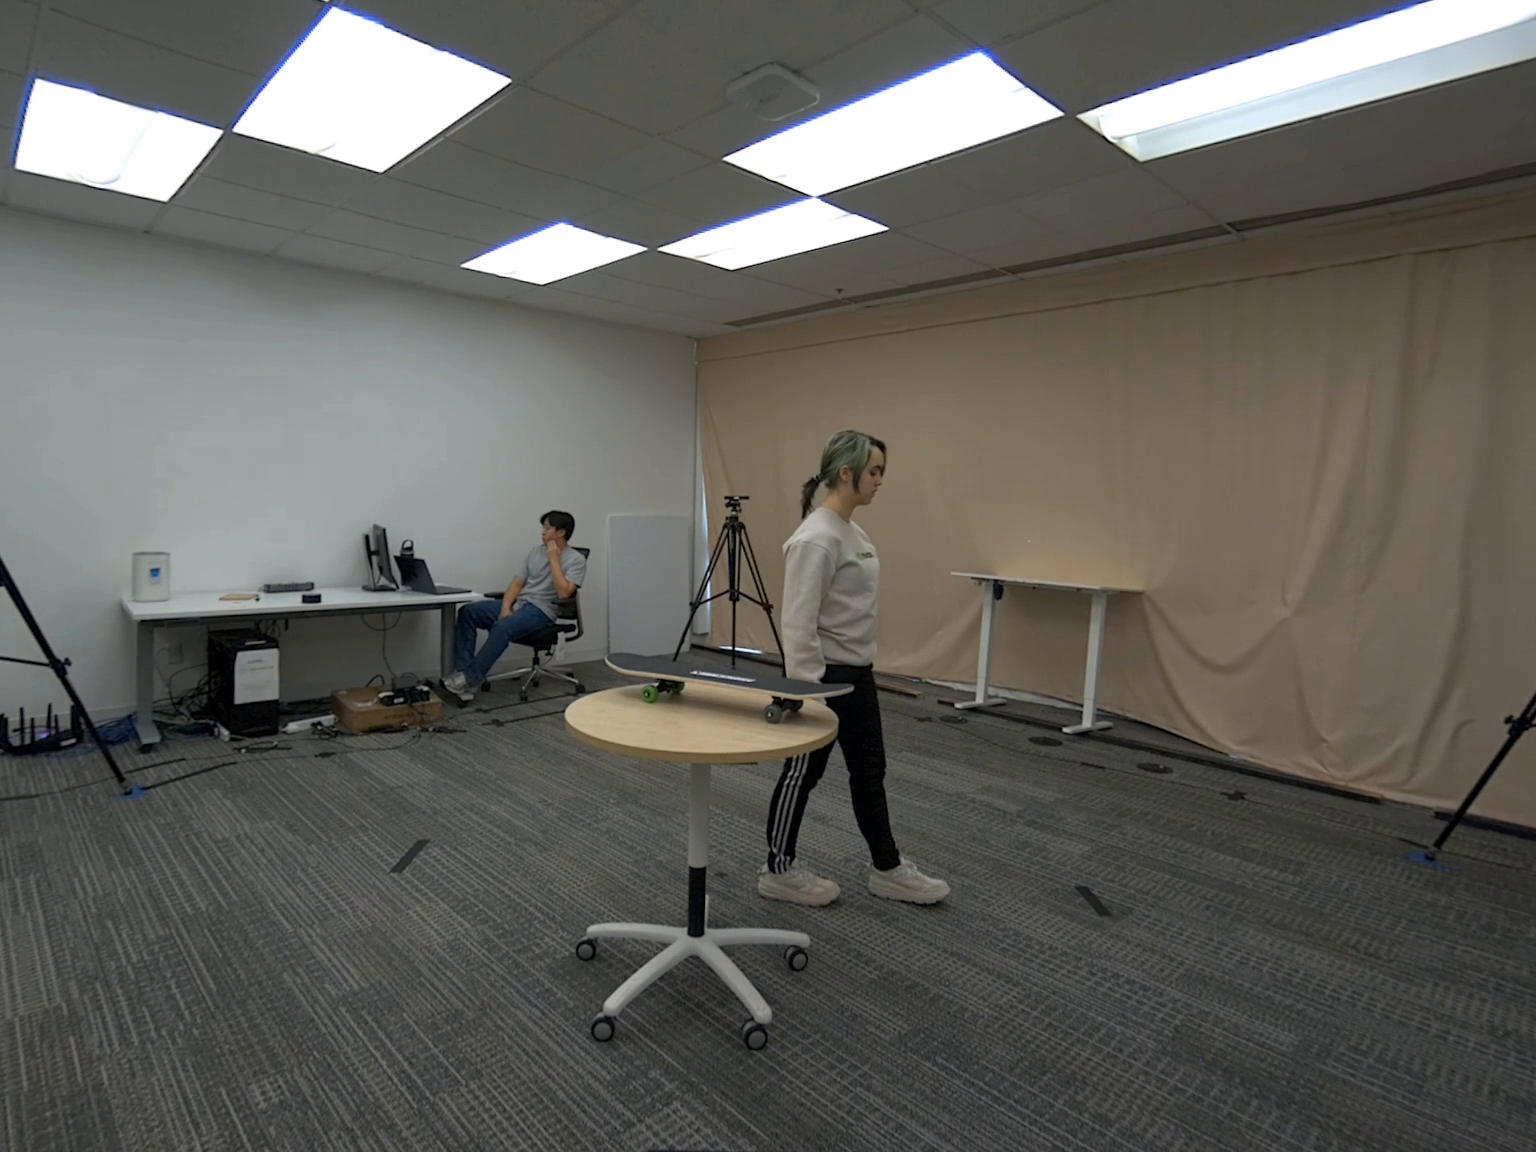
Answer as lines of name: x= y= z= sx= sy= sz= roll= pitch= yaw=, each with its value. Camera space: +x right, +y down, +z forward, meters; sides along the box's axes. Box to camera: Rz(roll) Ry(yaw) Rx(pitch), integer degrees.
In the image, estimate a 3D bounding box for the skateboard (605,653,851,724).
skateboard: x=-0.148 y=0.332 z=2.441 sx=0.801 sy=0.110 sz=0.190 roll=4 pitch=4 yaw=27
